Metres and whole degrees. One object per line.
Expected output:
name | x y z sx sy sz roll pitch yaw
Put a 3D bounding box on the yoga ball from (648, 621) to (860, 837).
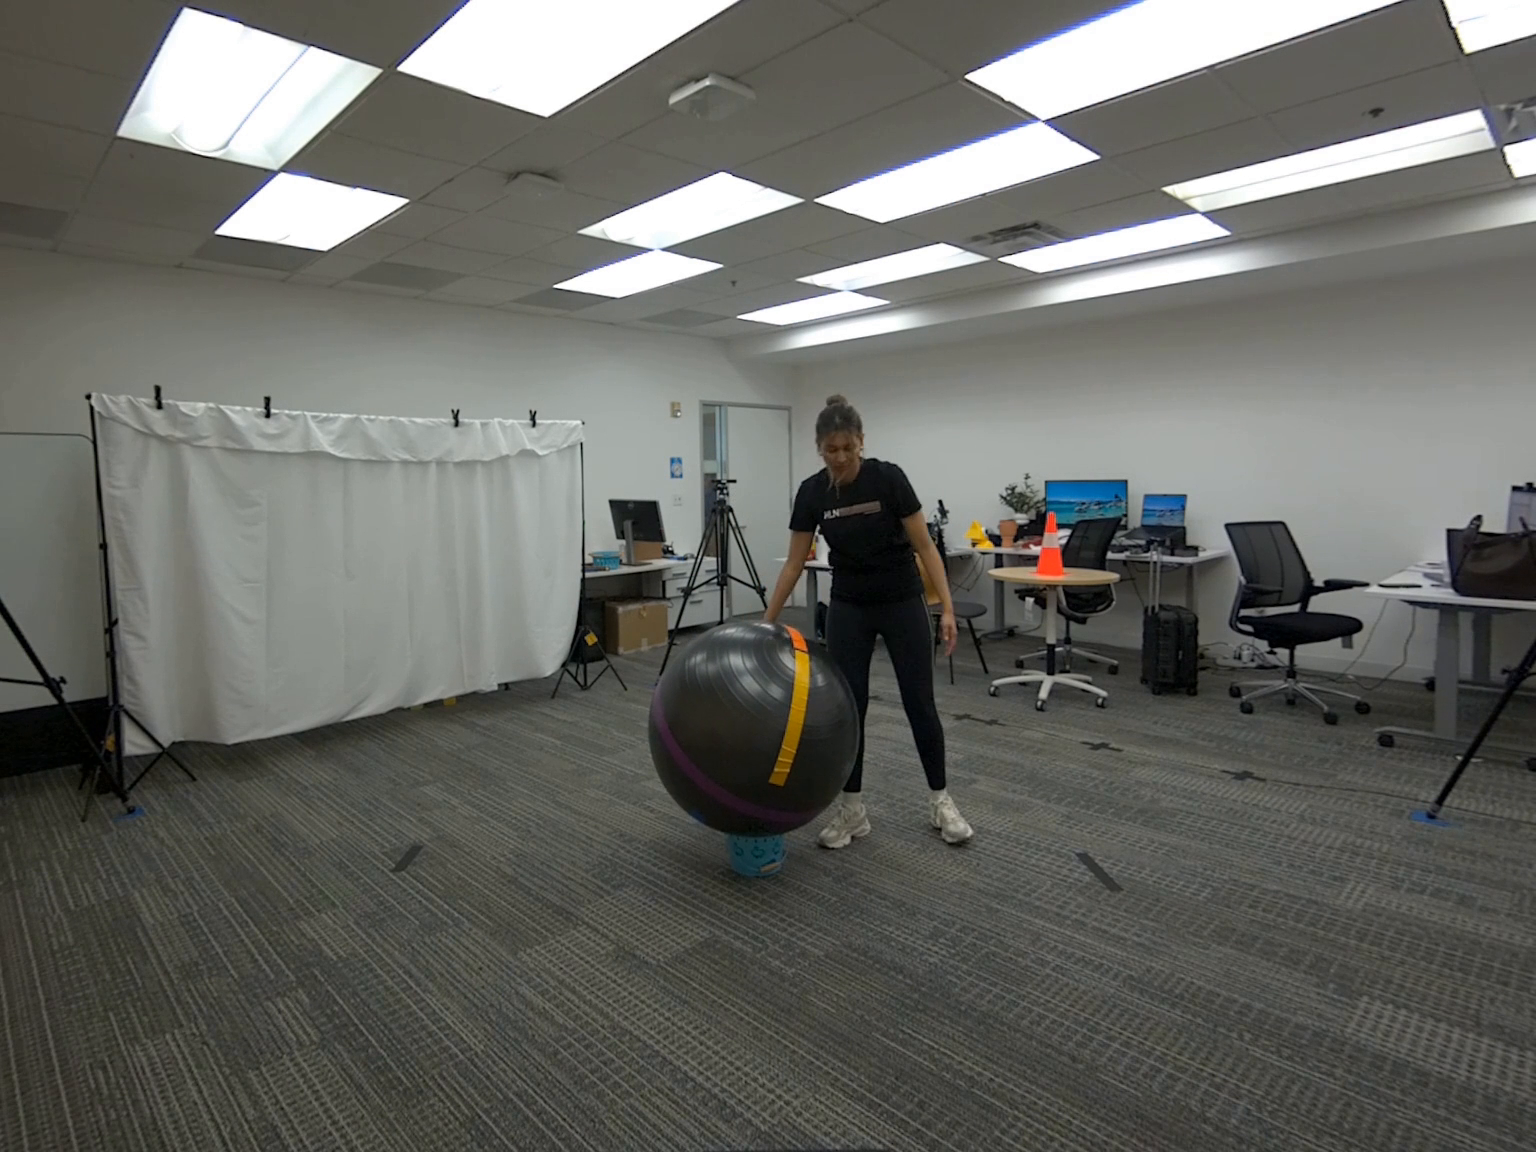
yoga ball | -0.054 0.537 3.069 0.757 0.755 0.762 -1 5 -2
